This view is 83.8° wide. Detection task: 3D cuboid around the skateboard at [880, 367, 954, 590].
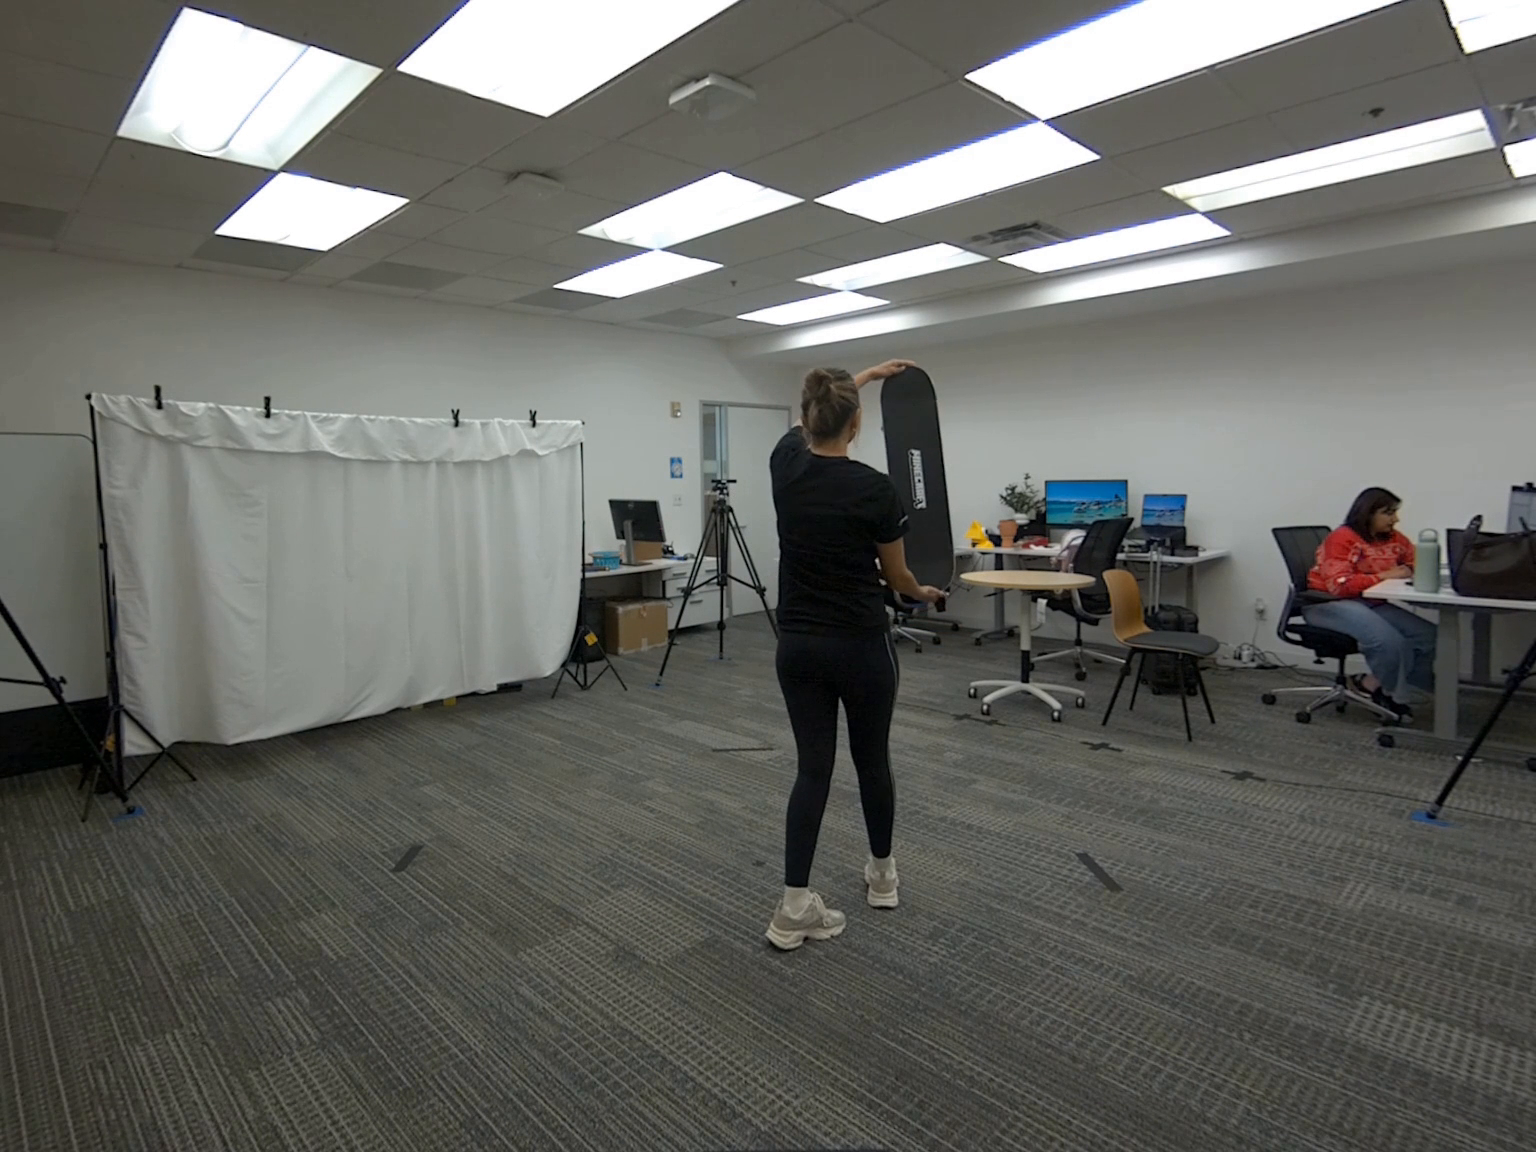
[{"bbox_3d":[0.520,-0.331,2.958,0.194,0.789,0.109,-5,-4,4],"label":"skateboard"}]
